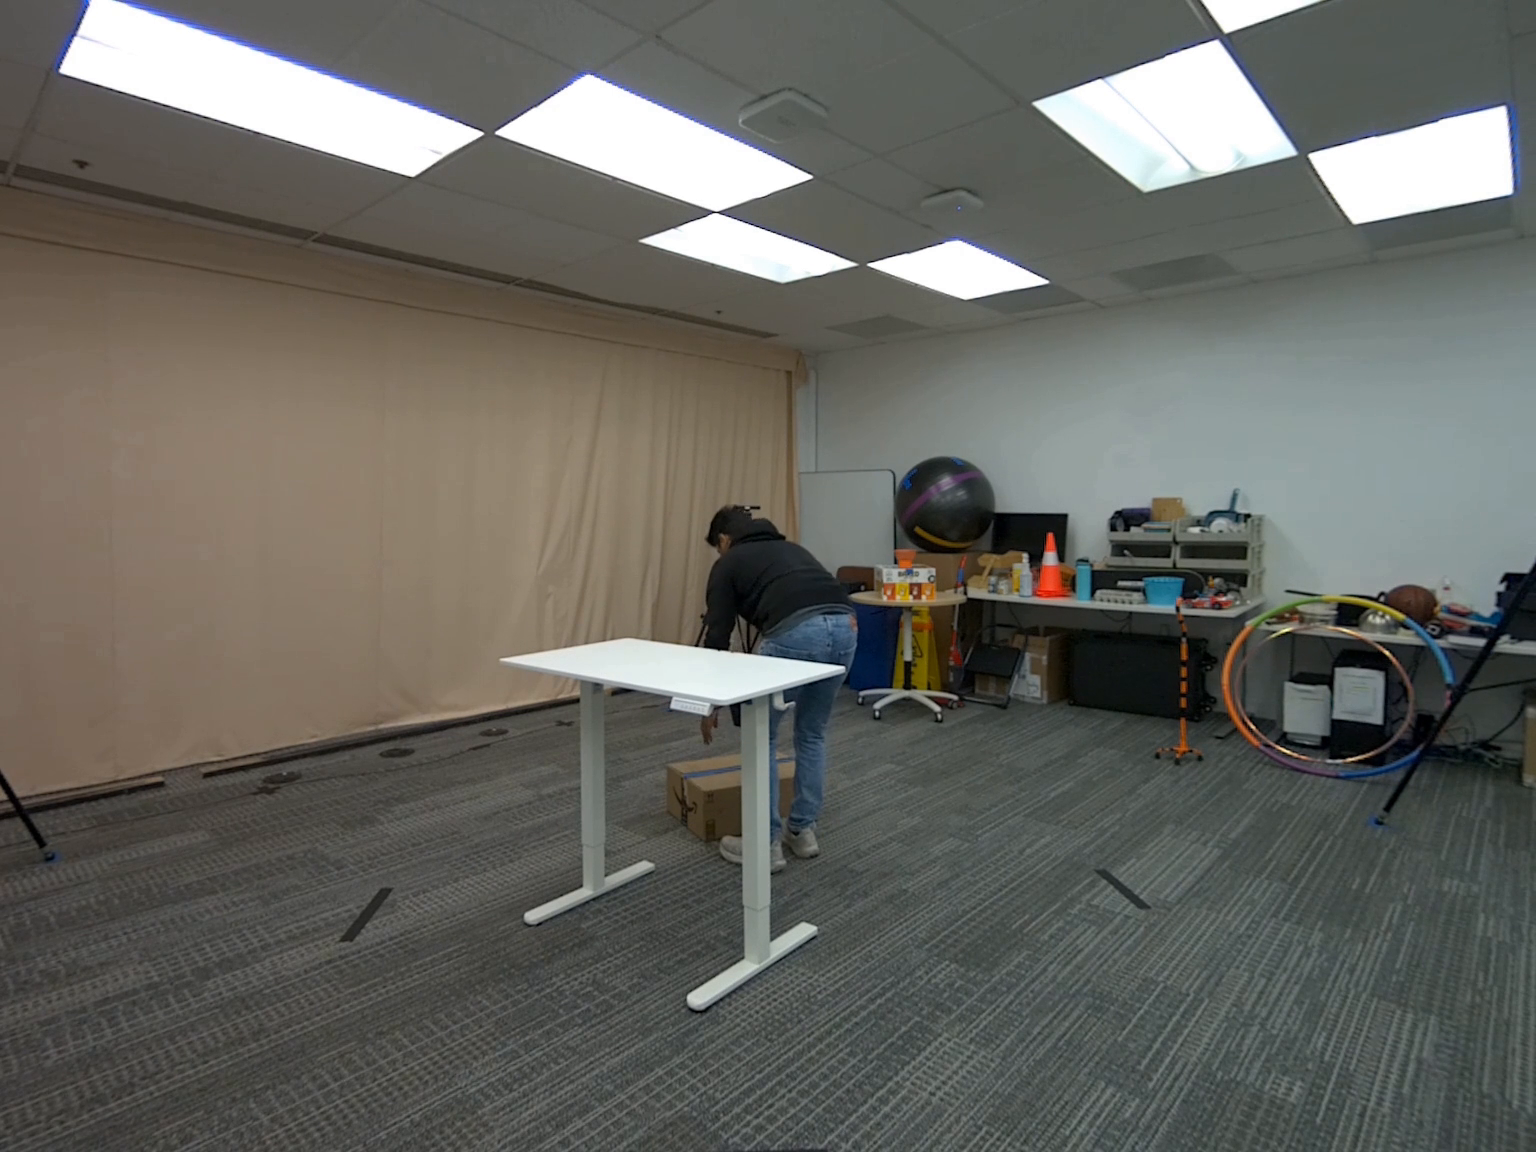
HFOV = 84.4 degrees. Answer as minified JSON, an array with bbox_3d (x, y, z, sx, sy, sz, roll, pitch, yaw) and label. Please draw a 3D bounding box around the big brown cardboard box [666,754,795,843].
[{"bbox_3d":[-0.116,0.969,3.789,0.574,0.233,0.429,-3,4,-27],"label":"big brown cardboard box"}]
